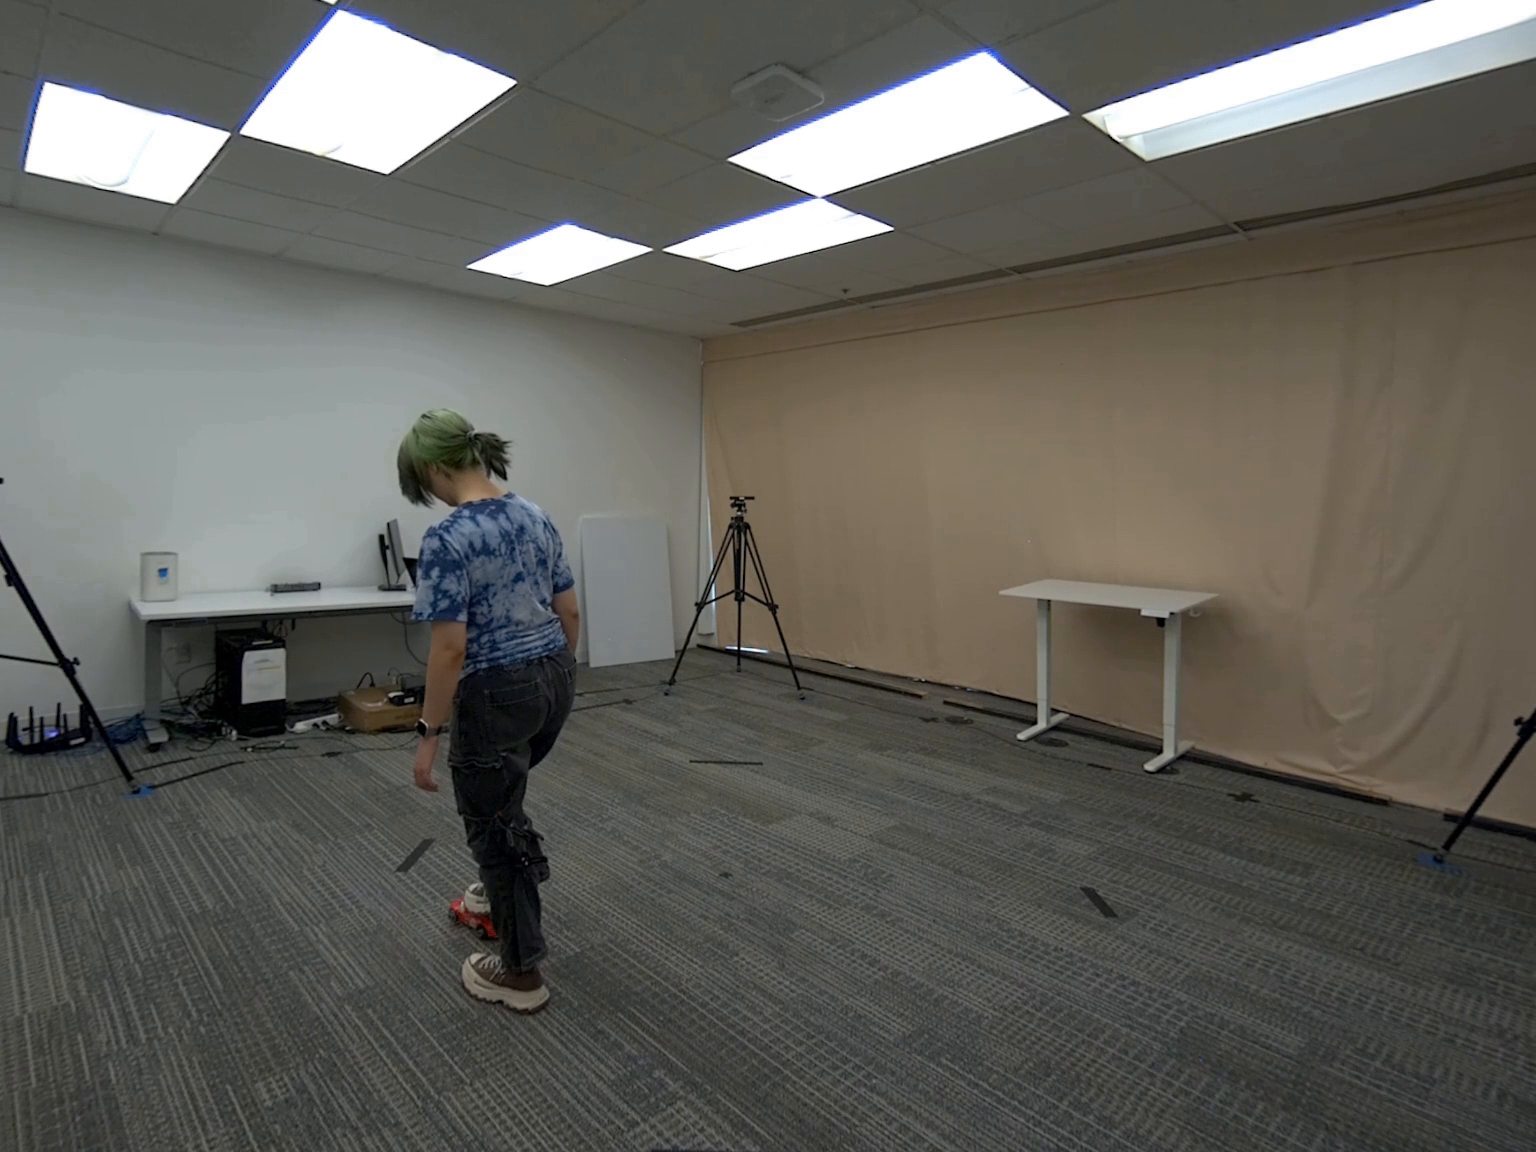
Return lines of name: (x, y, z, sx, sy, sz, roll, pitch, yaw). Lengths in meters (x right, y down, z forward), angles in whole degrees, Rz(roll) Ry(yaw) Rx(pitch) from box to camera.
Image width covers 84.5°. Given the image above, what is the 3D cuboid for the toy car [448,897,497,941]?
toy car: (-0.915, 1.096, 2.684, 0.260, 0.083, 0.127, 0, 3, 34)
